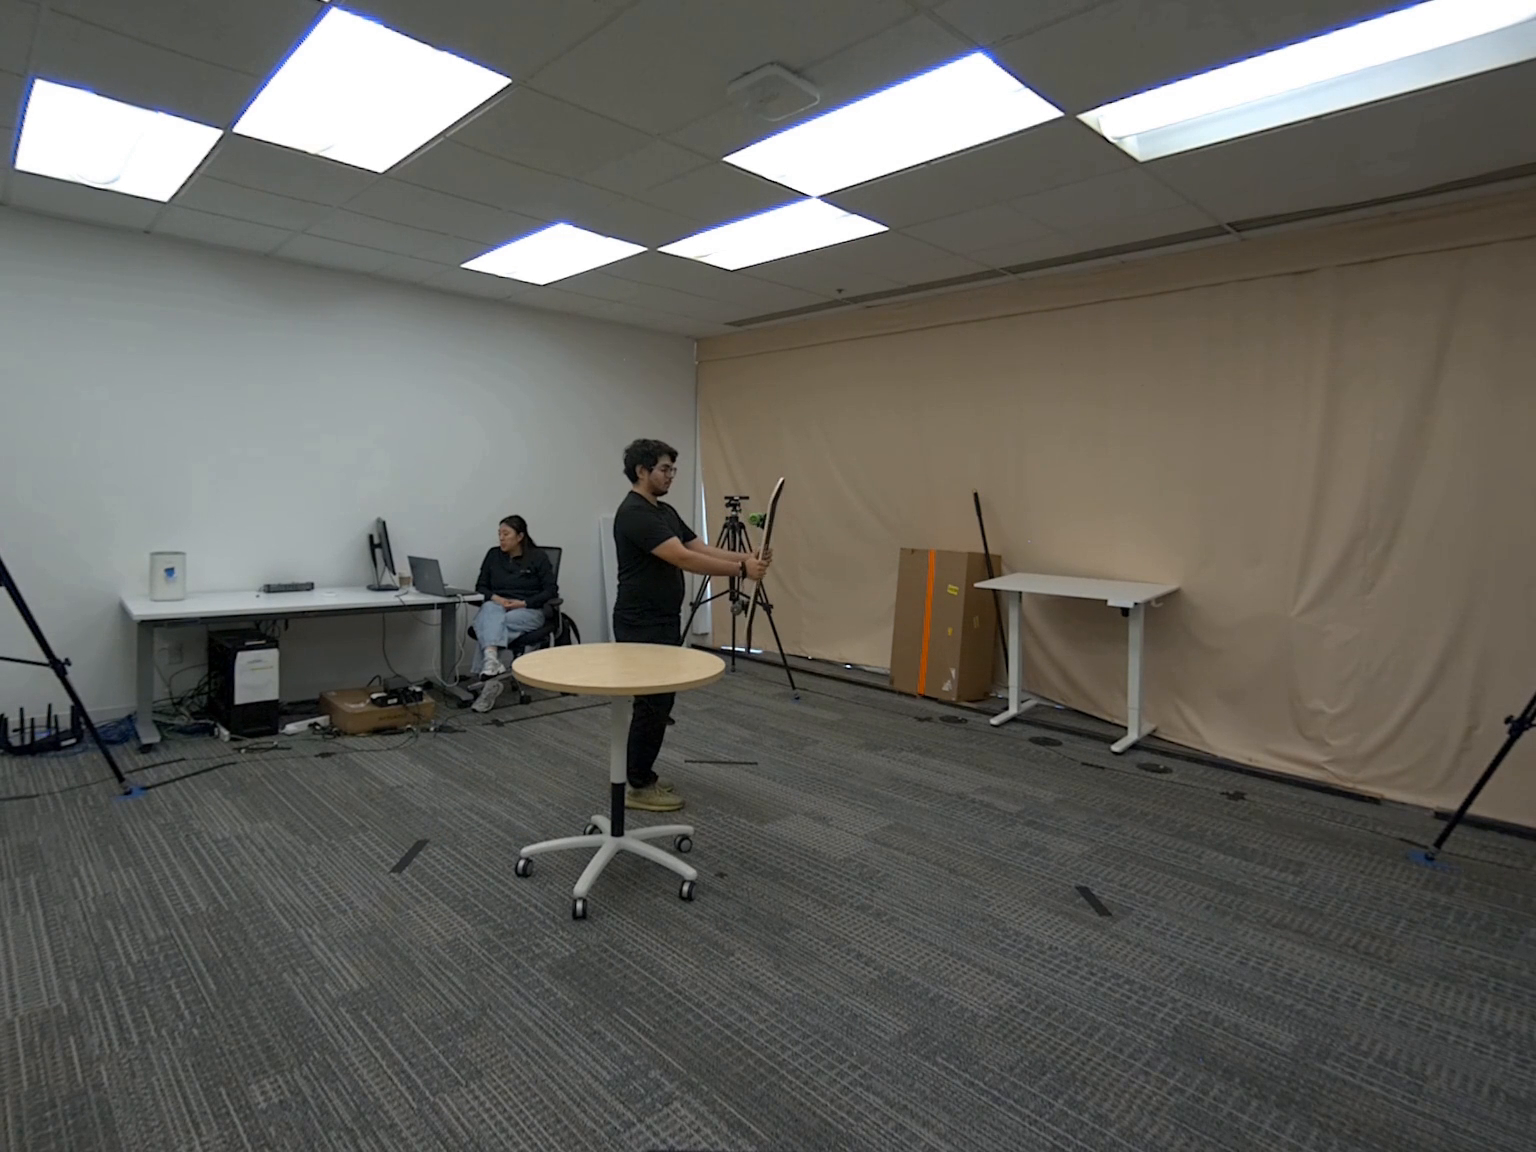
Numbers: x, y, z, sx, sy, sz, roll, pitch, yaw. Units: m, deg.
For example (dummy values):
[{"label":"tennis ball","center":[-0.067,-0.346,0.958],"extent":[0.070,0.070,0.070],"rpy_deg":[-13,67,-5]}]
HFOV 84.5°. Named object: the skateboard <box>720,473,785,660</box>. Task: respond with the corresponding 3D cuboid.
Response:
[{"label":"skateboard","center":[-0.067,-0.047,3.689],"extent":[0.111,0.783,0.192],"rpy_deg":[11,4,7]}]
